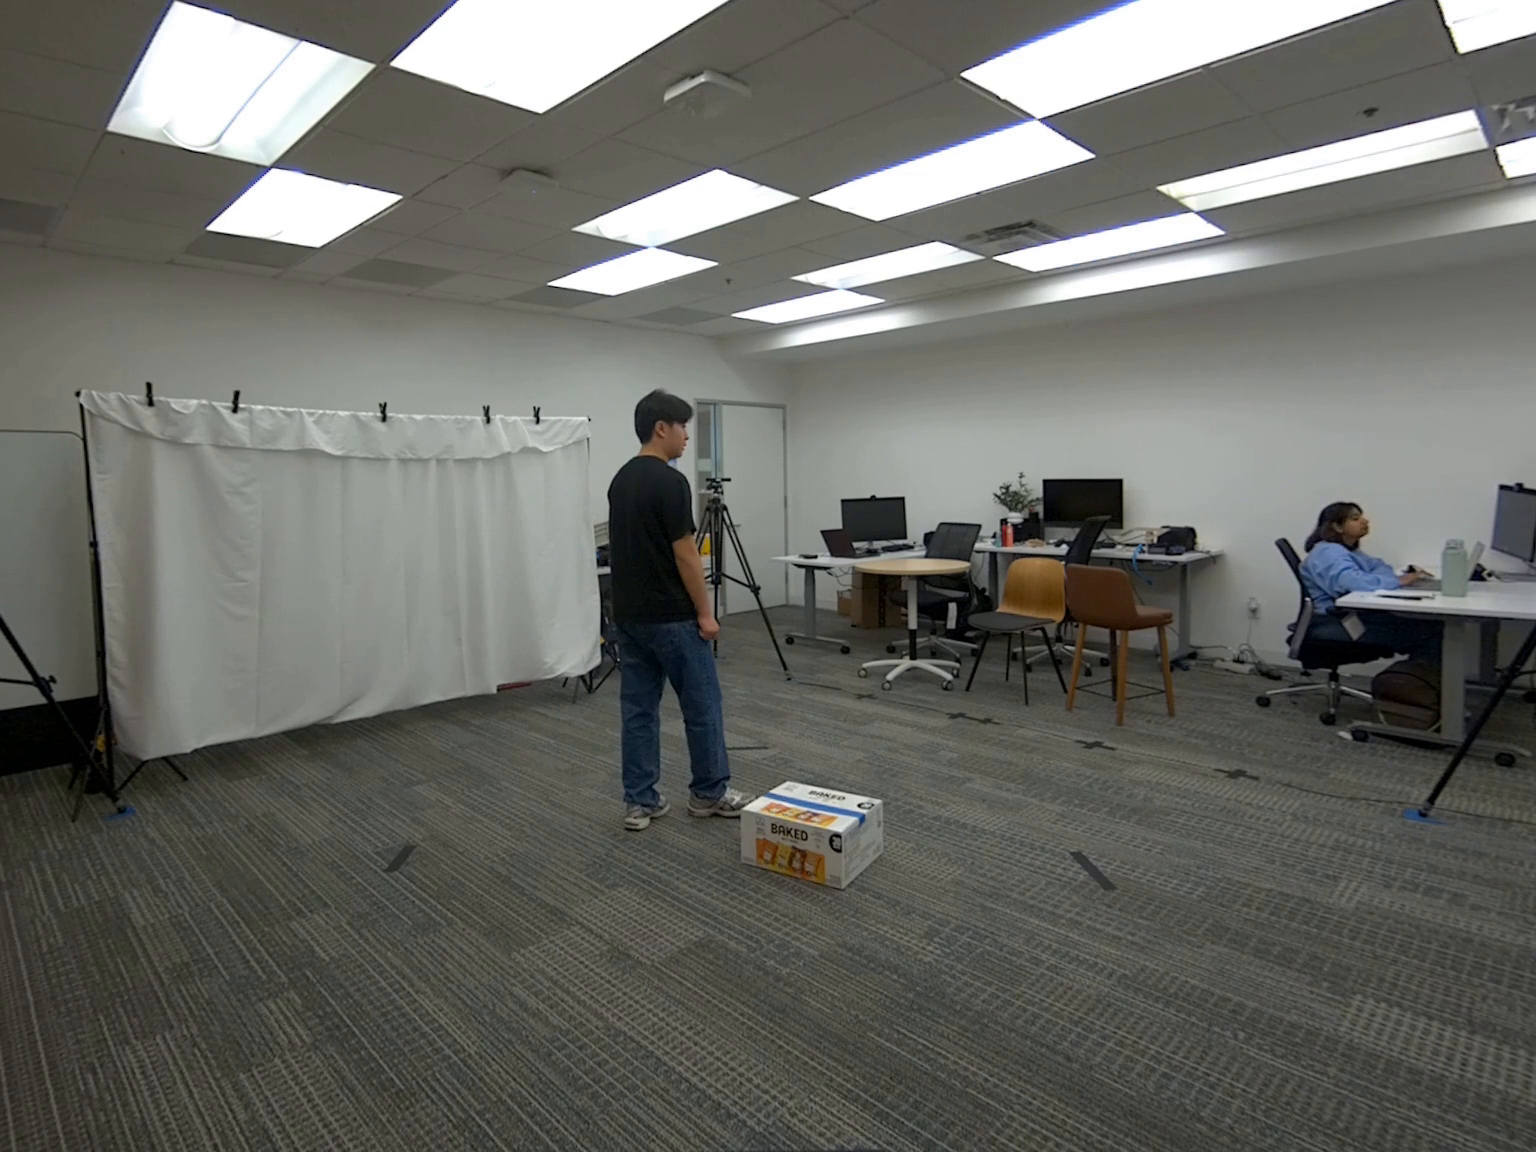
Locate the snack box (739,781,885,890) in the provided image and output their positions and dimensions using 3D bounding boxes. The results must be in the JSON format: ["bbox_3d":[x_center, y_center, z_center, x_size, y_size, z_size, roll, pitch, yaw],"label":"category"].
[{"bbox_3d":[0.168,0.934,3.122,0.416,0.205,0.332,2,7,32],"label":"snack box"}]
